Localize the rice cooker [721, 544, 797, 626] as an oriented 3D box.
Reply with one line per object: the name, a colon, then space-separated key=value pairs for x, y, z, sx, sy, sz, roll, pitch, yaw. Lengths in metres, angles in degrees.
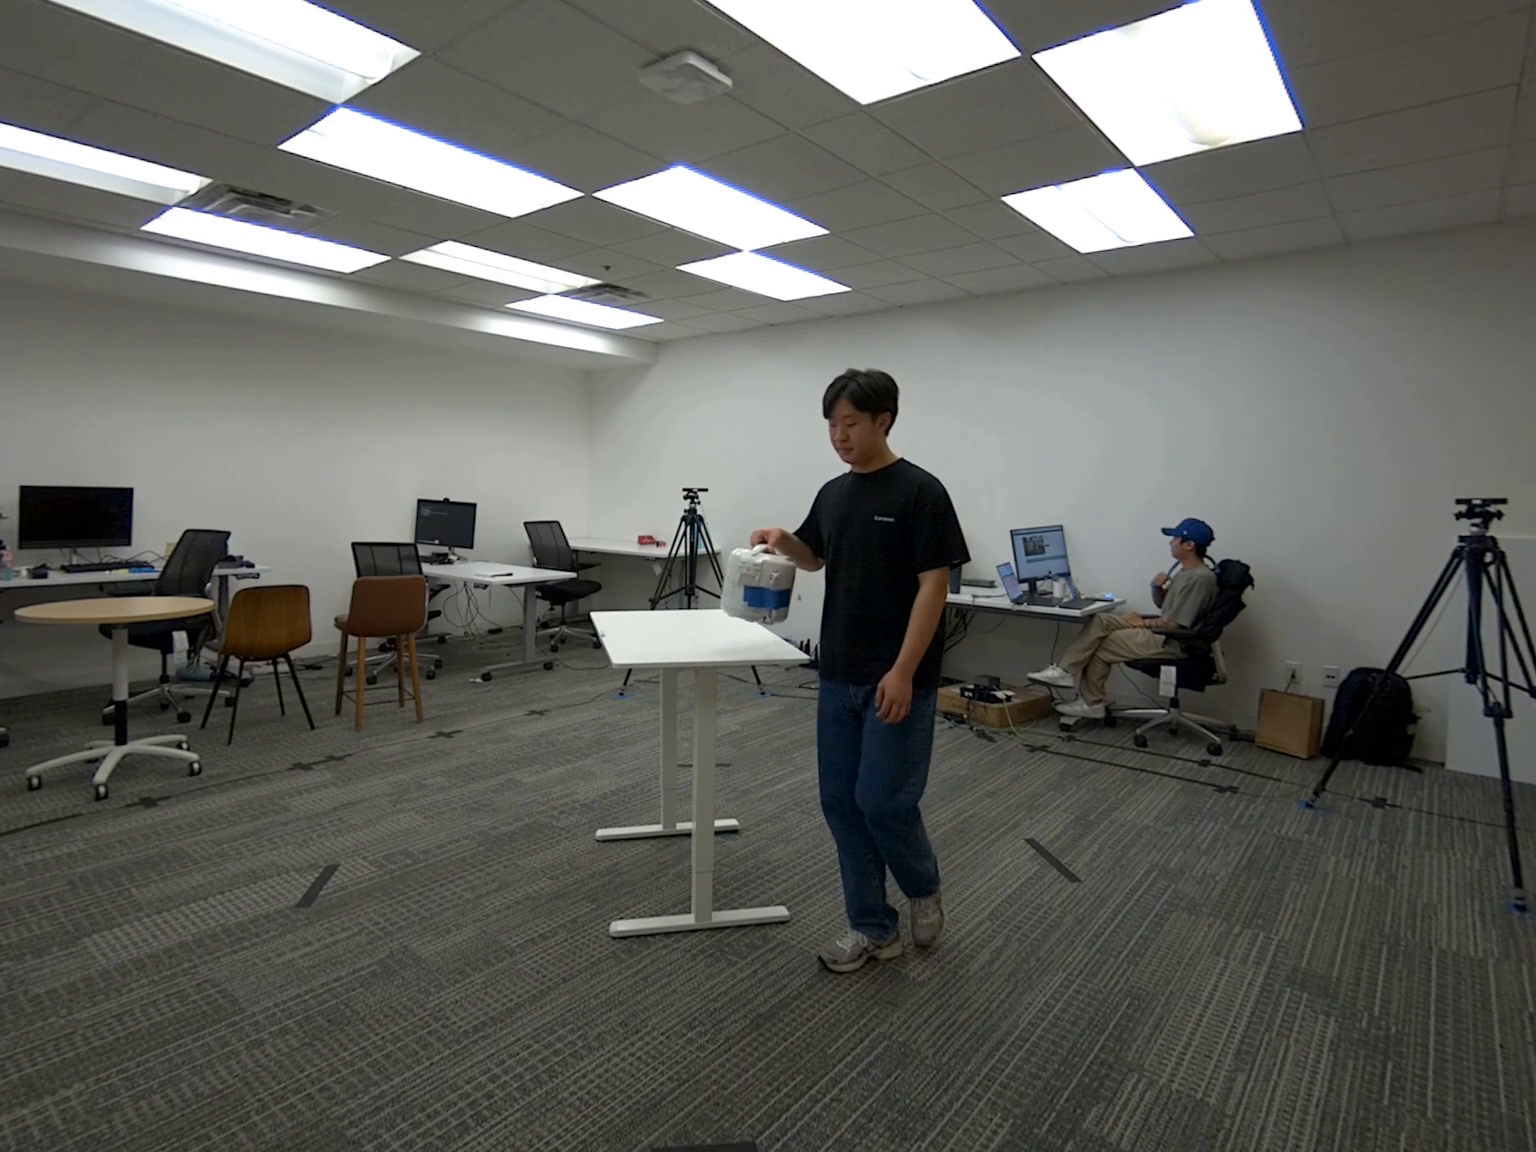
rice cooker: x=-0.035 y=0.014 z=2.604 sx=0.223 sy=0.232 sz=0.215 roll=12 pitch=3 yaw=22
